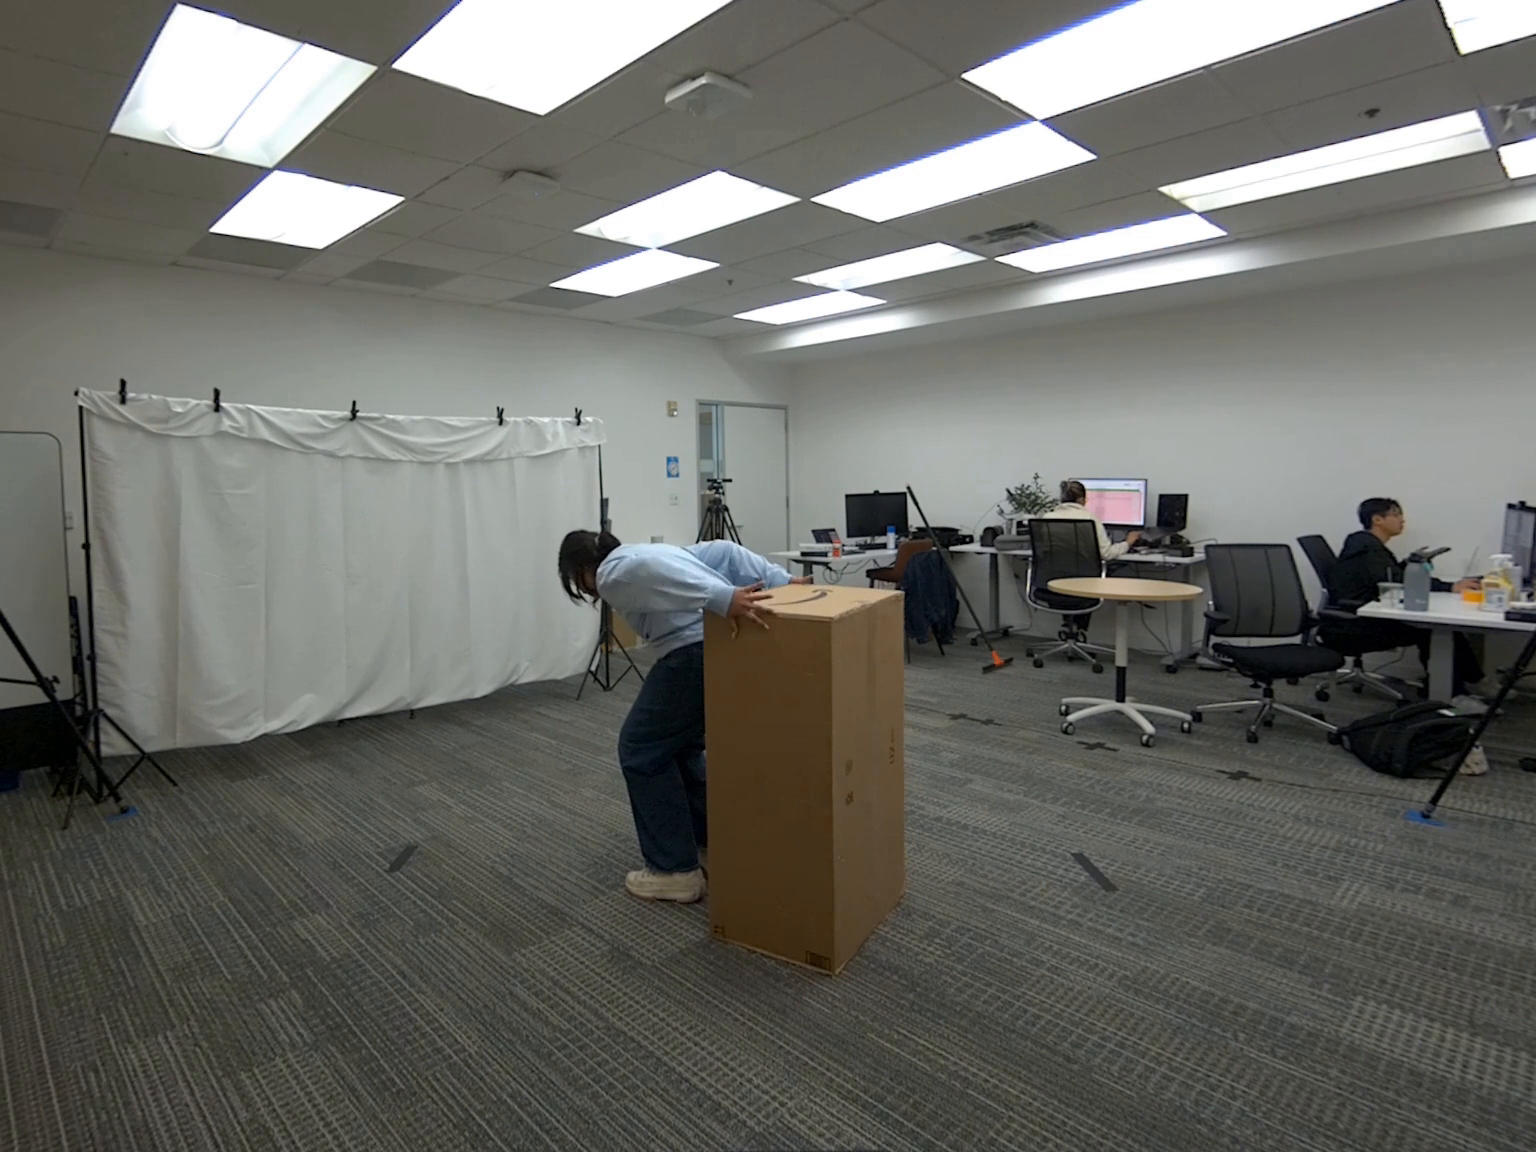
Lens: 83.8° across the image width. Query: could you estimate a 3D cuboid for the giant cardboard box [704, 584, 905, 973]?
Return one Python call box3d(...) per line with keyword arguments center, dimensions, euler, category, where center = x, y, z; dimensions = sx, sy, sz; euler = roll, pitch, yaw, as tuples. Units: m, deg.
box3d(center=(0.136, 0.585, 2.699), dimensions=(0.437, 1.021, 0.565), euler=(1, 5, 31), category="giant cardboard box")
